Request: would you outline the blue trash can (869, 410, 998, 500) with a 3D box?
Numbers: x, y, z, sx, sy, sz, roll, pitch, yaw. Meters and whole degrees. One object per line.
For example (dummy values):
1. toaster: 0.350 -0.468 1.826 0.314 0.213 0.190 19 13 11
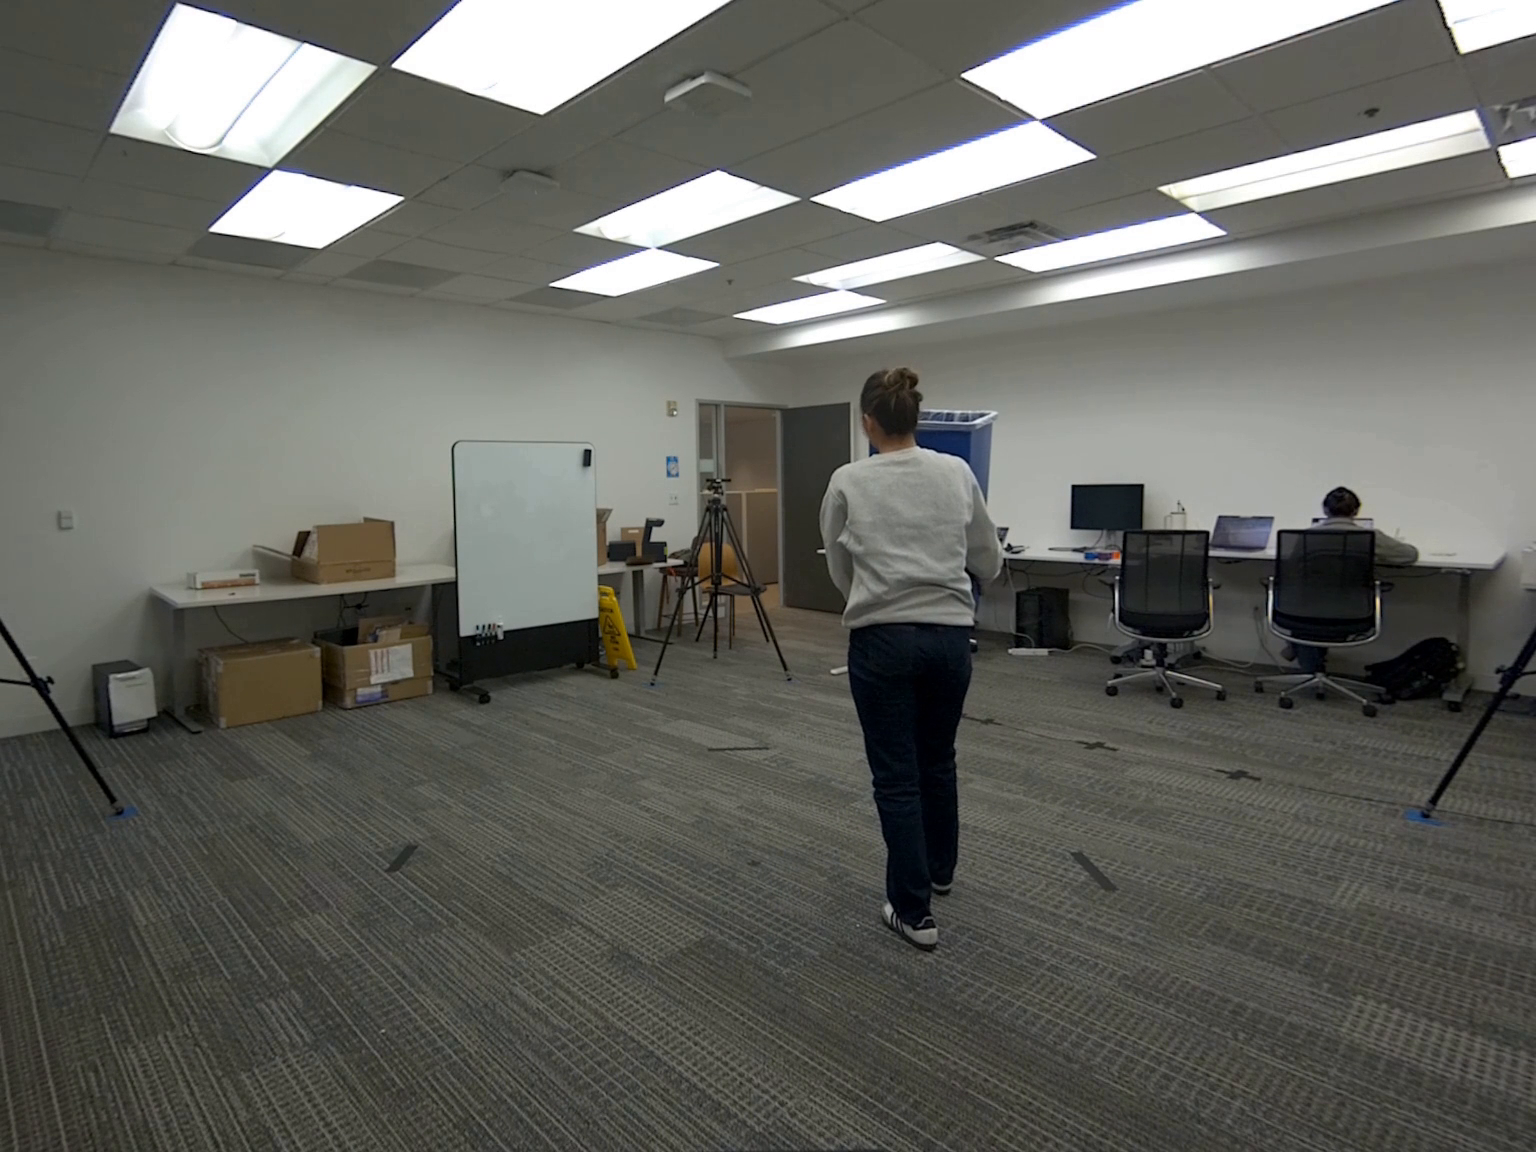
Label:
1. blue trash can: 0.563 -0.197 2.930 0.388 0.705 0.369 6 15 27
